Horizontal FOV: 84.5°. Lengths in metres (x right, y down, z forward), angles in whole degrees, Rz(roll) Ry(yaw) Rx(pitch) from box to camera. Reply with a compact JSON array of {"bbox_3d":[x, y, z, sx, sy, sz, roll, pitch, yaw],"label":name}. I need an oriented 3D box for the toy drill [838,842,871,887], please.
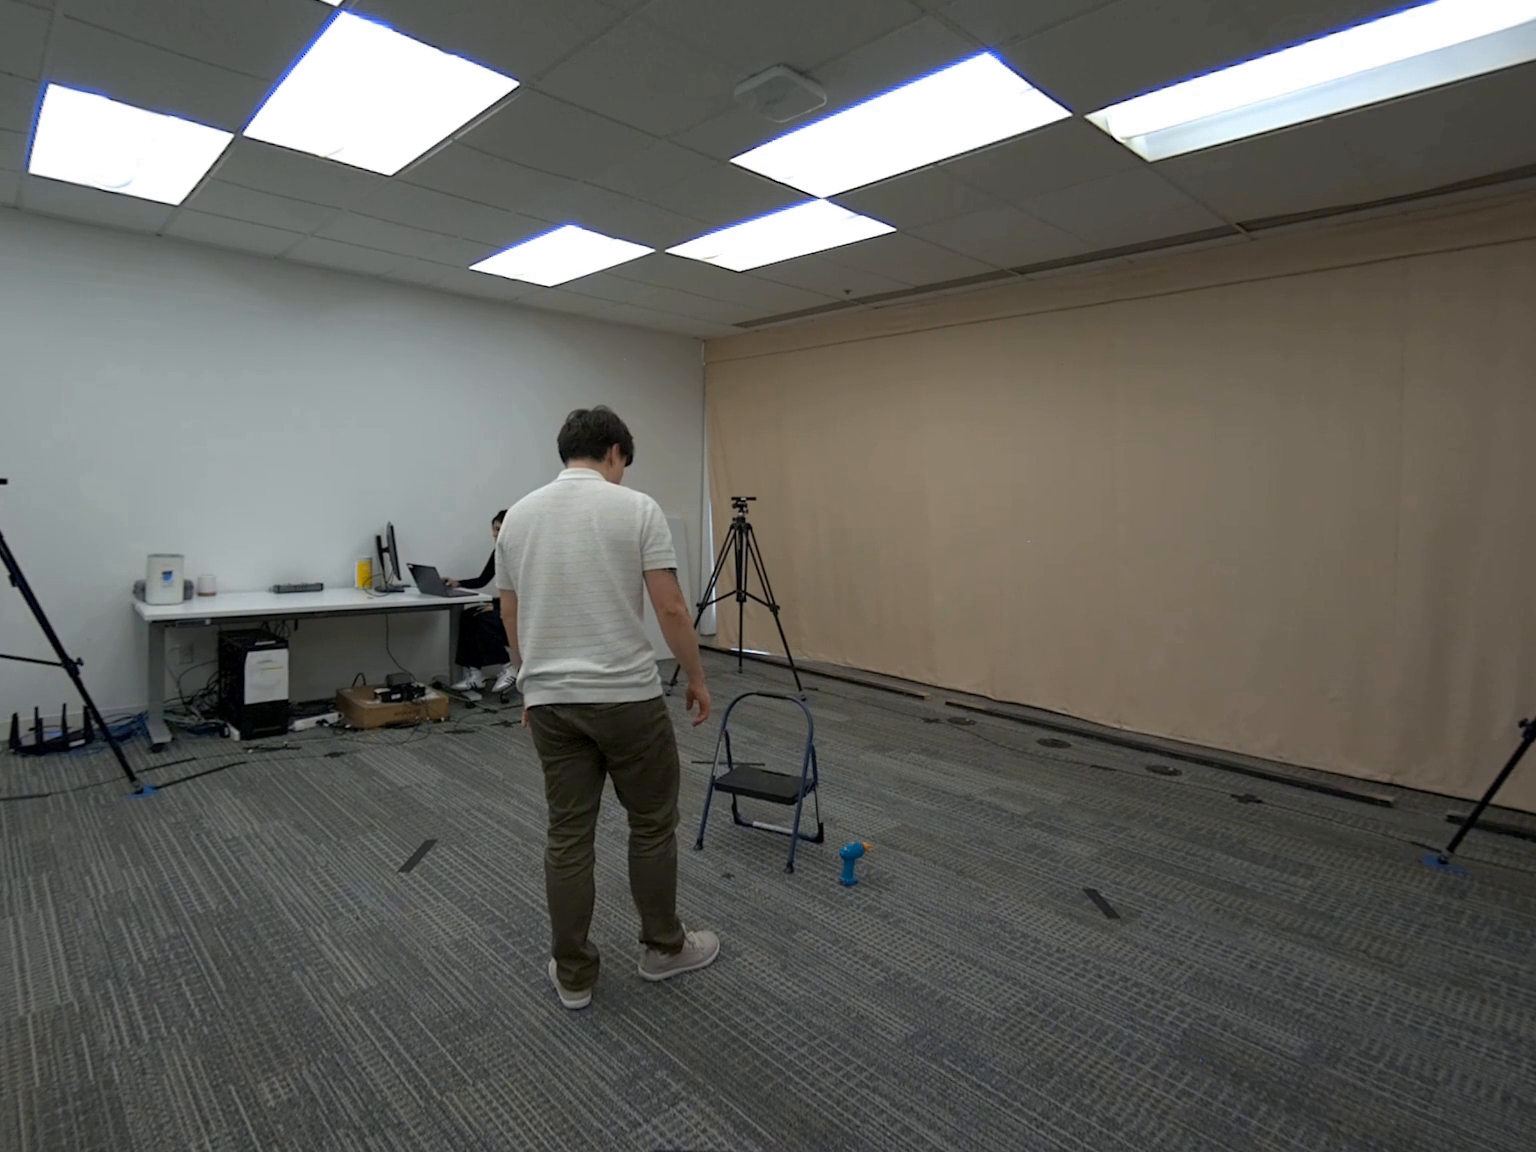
[{"bbox_3d":[0.315,1.047,3.086,0.166,0.146,0.063,-1,3,-41],"label":"toy drill"}]
